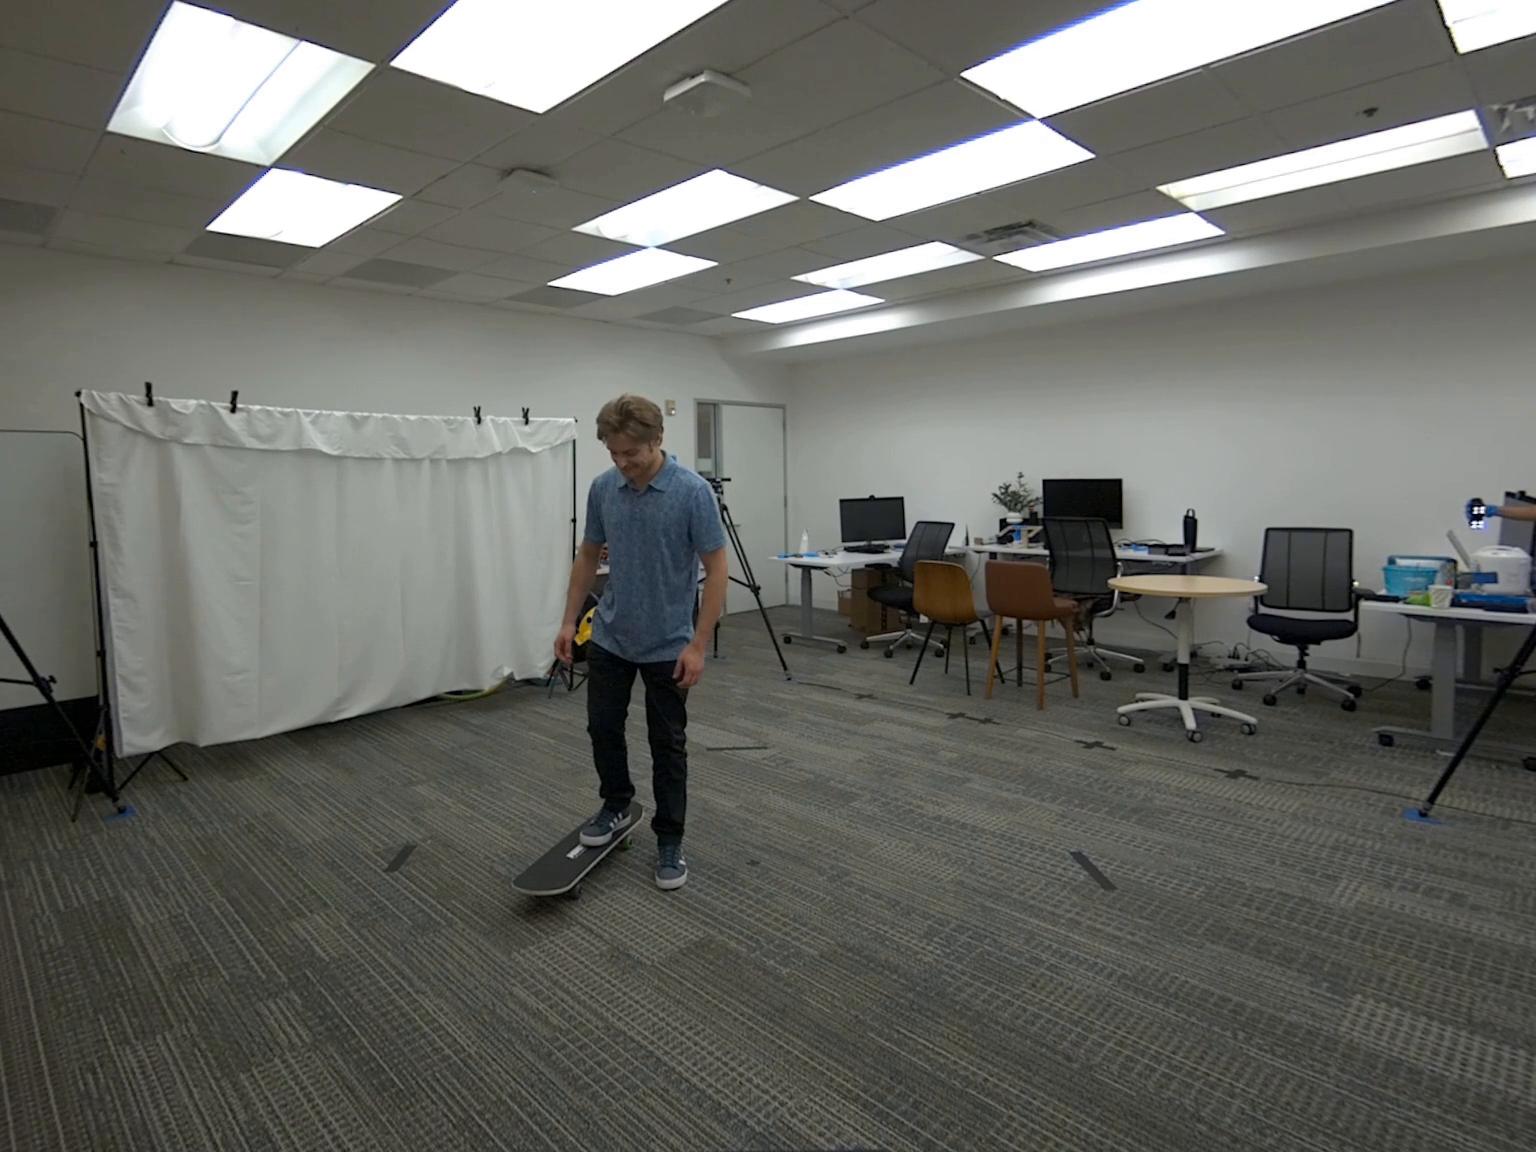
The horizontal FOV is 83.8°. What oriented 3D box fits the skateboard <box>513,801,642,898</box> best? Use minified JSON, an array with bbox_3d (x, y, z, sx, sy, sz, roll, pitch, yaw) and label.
[{"bbox_3d":[-0.661,1.000,3.075,0.196,0.110,0.777,3,7,14],"label":"skateboard"}]
